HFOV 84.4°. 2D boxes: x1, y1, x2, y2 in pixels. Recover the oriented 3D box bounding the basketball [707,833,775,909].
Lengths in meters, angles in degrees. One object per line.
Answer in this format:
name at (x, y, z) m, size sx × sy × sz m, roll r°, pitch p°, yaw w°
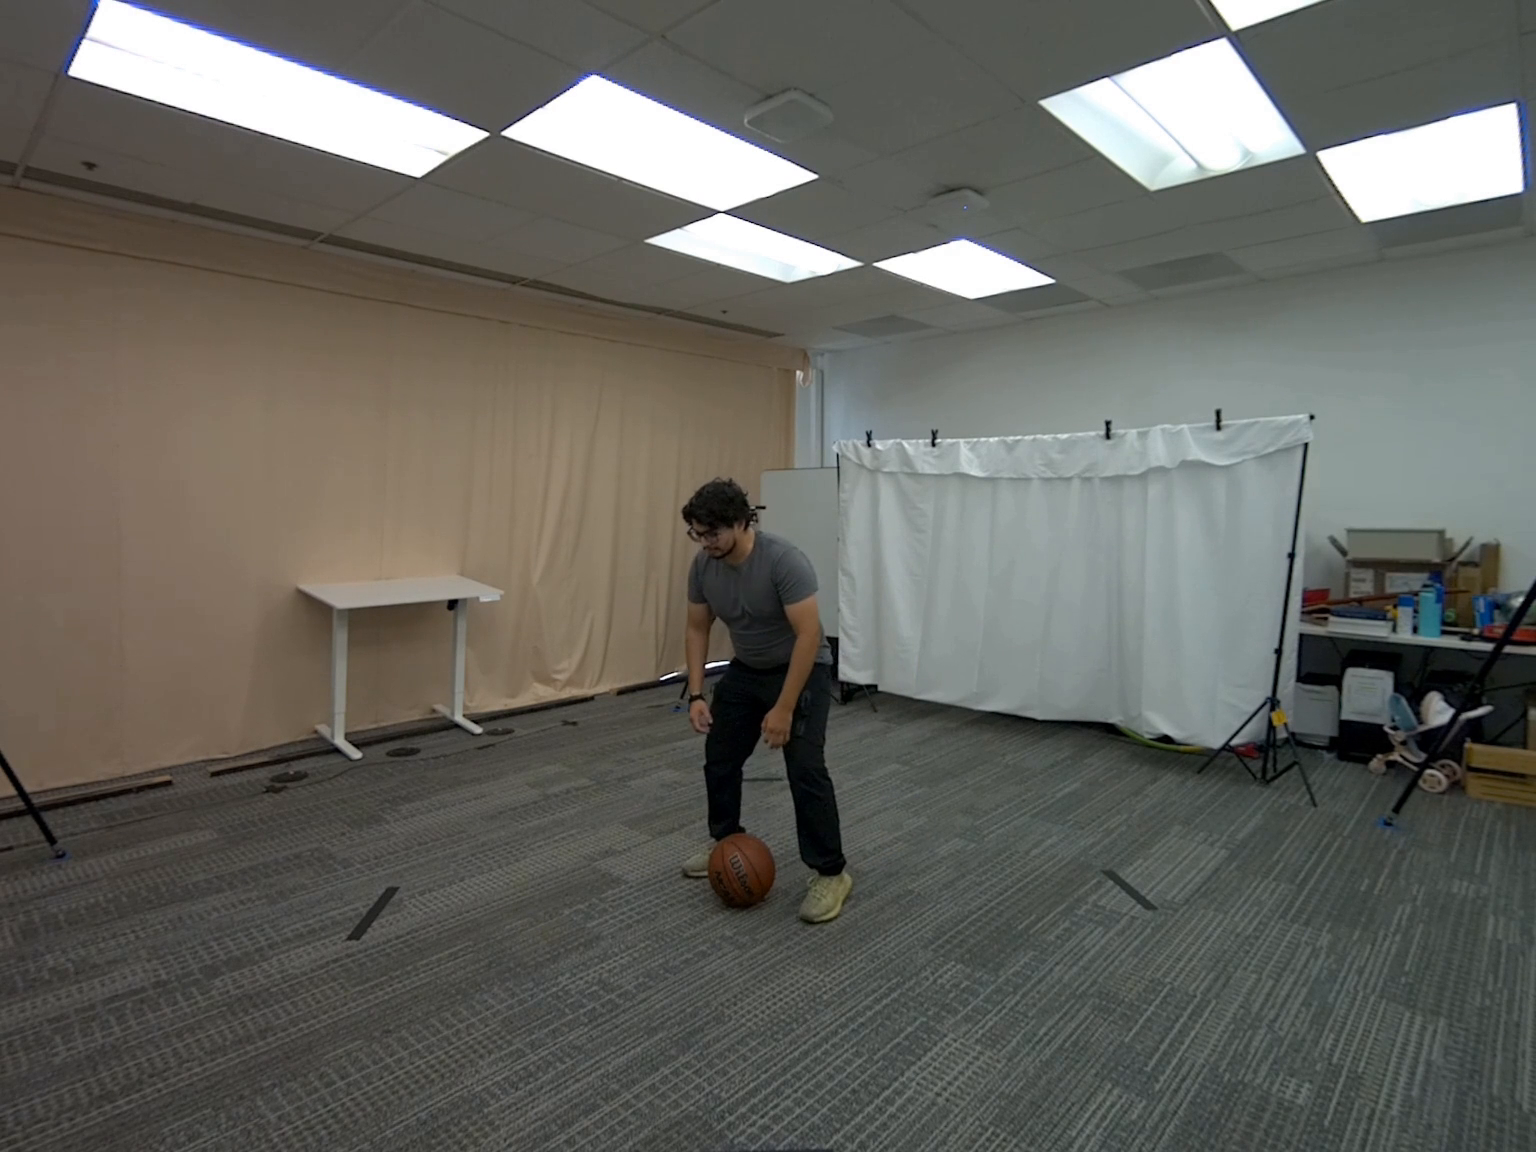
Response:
basketball at (-0.090, 1.029, 2.952) m, size 0.236 × 0.235 × 0.237 m, roll 0°, pitch 4°, yaw -2°
